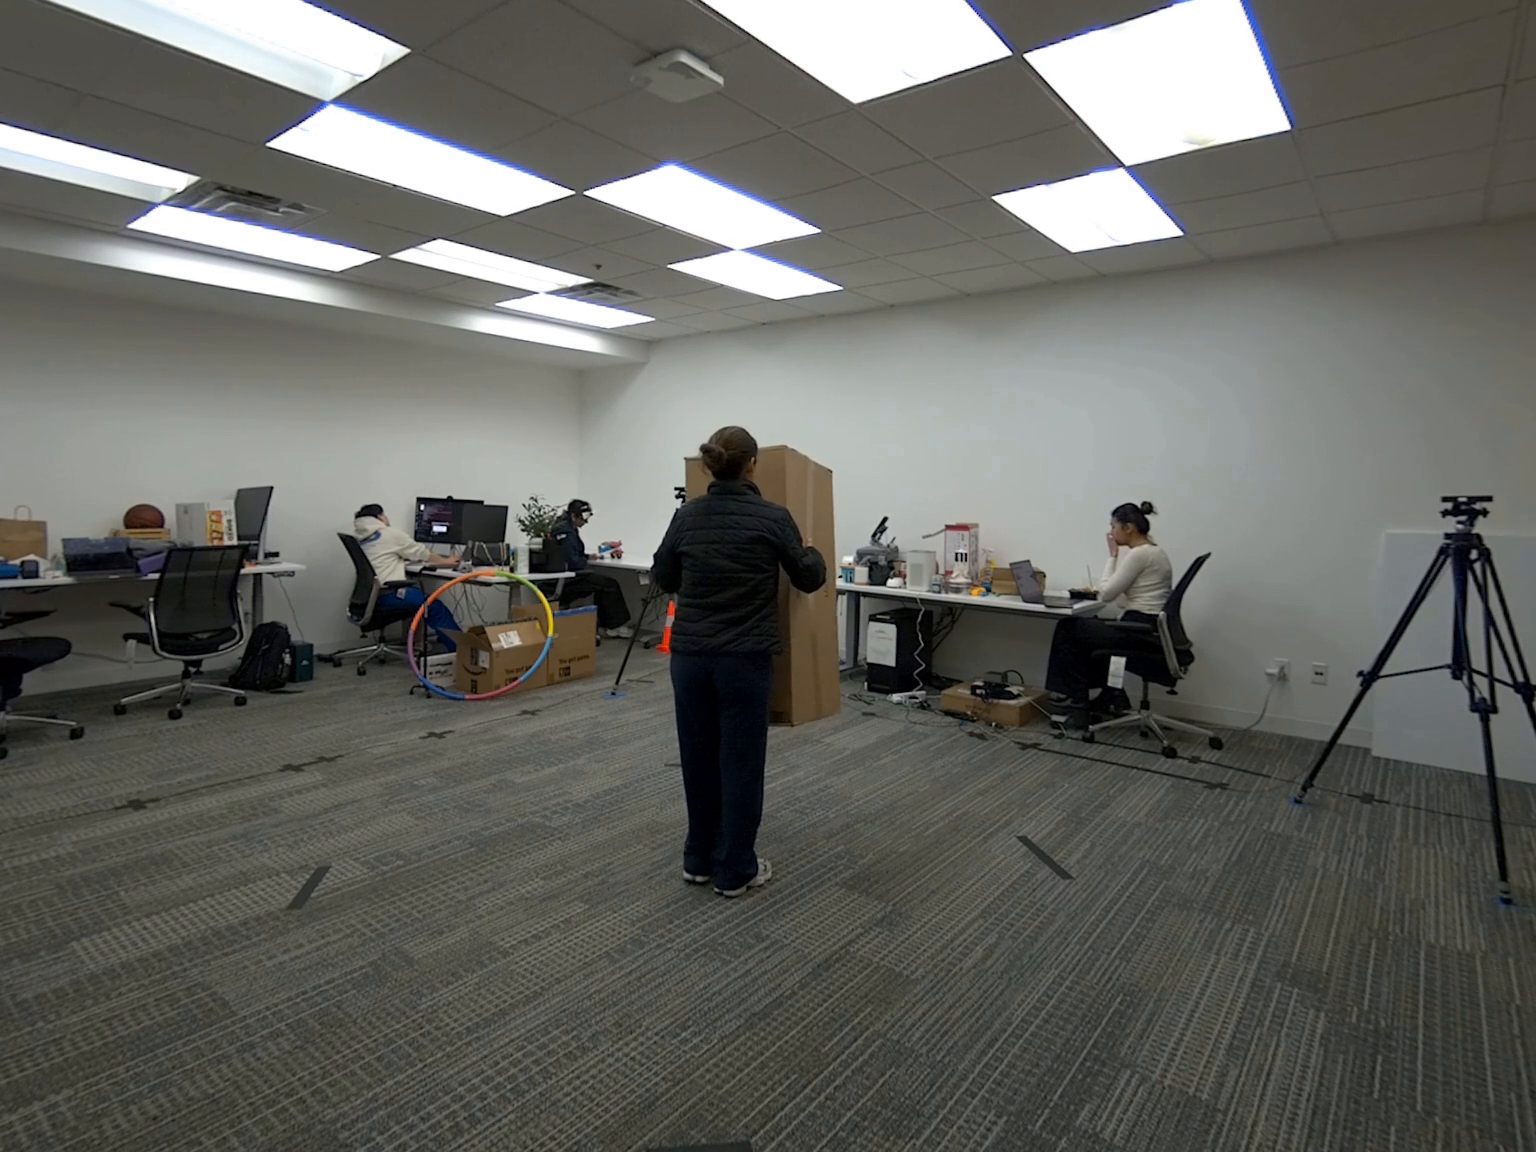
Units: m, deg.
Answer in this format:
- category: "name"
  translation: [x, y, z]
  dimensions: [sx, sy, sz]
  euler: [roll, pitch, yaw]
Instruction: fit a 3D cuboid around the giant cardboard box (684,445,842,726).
- category: "giant cardboard box"
  translation: [0.011, 0.044, 3.434]
  dimensions: [0.436, 1.033, 0.560]
  euler: [-5, -7, 25]
